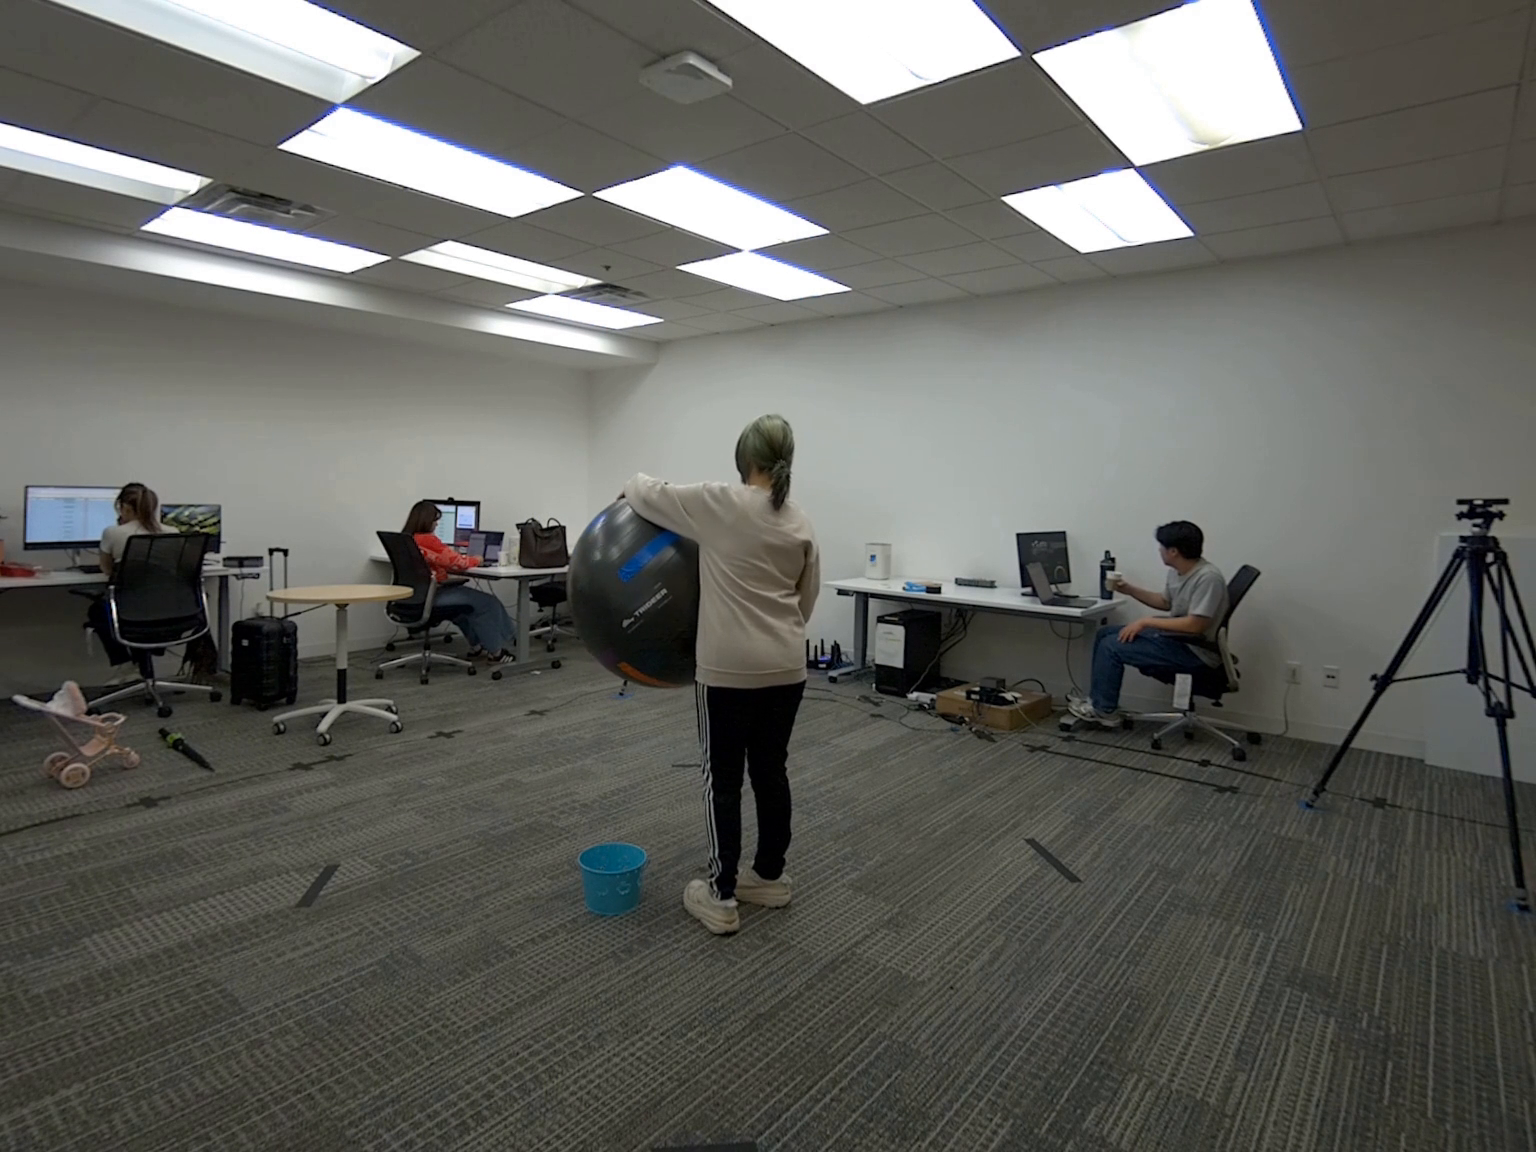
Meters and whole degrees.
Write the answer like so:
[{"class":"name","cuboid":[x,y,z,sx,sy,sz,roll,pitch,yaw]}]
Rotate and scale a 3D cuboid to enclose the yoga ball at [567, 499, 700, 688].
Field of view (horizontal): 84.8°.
[{"class":"yoga ball","cuboid":[-0.391,0.045,3.209,0.757,0.756,0.761,1,4,-2]}]
